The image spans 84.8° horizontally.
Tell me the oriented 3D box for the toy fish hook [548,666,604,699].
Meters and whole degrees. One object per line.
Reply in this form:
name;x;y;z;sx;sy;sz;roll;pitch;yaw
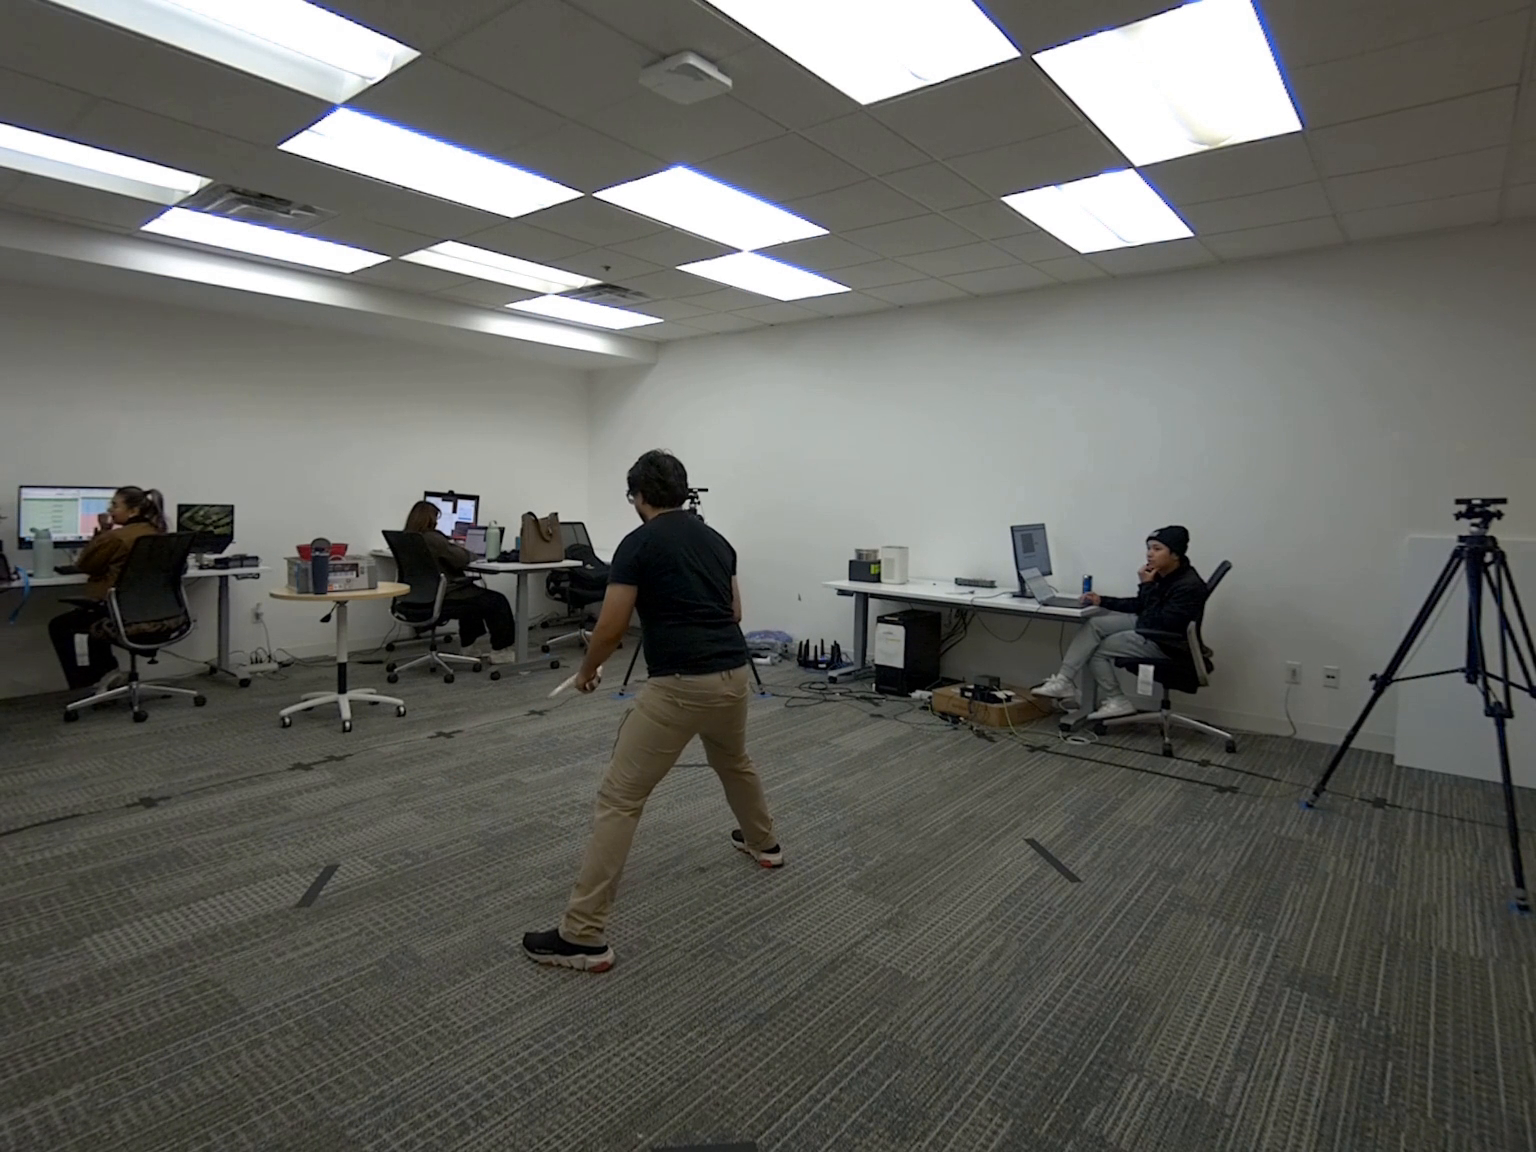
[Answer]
toy fish hook;-0.724;0.411;3.097;0.224;0.048;0.511;-34;6;-11
